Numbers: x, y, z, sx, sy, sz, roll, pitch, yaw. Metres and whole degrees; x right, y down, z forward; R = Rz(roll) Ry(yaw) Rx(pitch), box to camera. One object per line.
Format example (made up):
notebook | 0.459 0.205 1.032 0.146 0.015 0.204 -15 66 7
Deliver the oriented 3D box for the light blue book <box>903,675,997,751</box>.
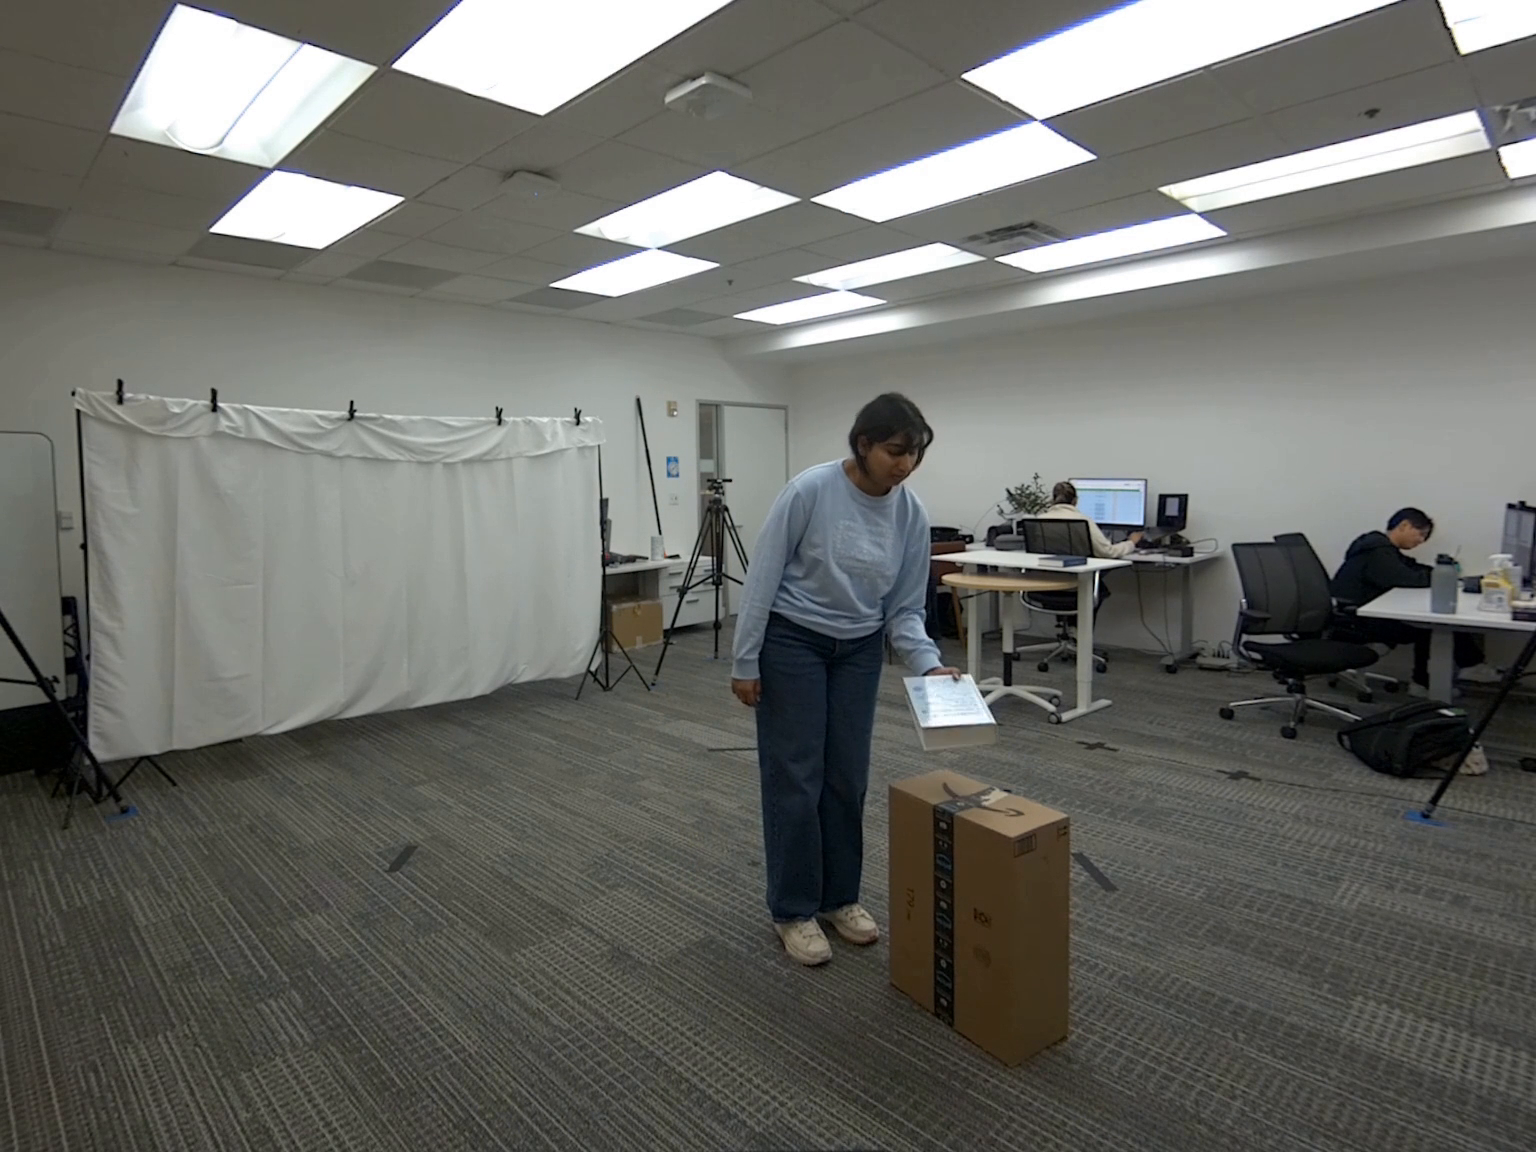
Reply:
light blue book | 0.481 0.352 2.244 0.191 0.058 0.266 -4 21 -1
